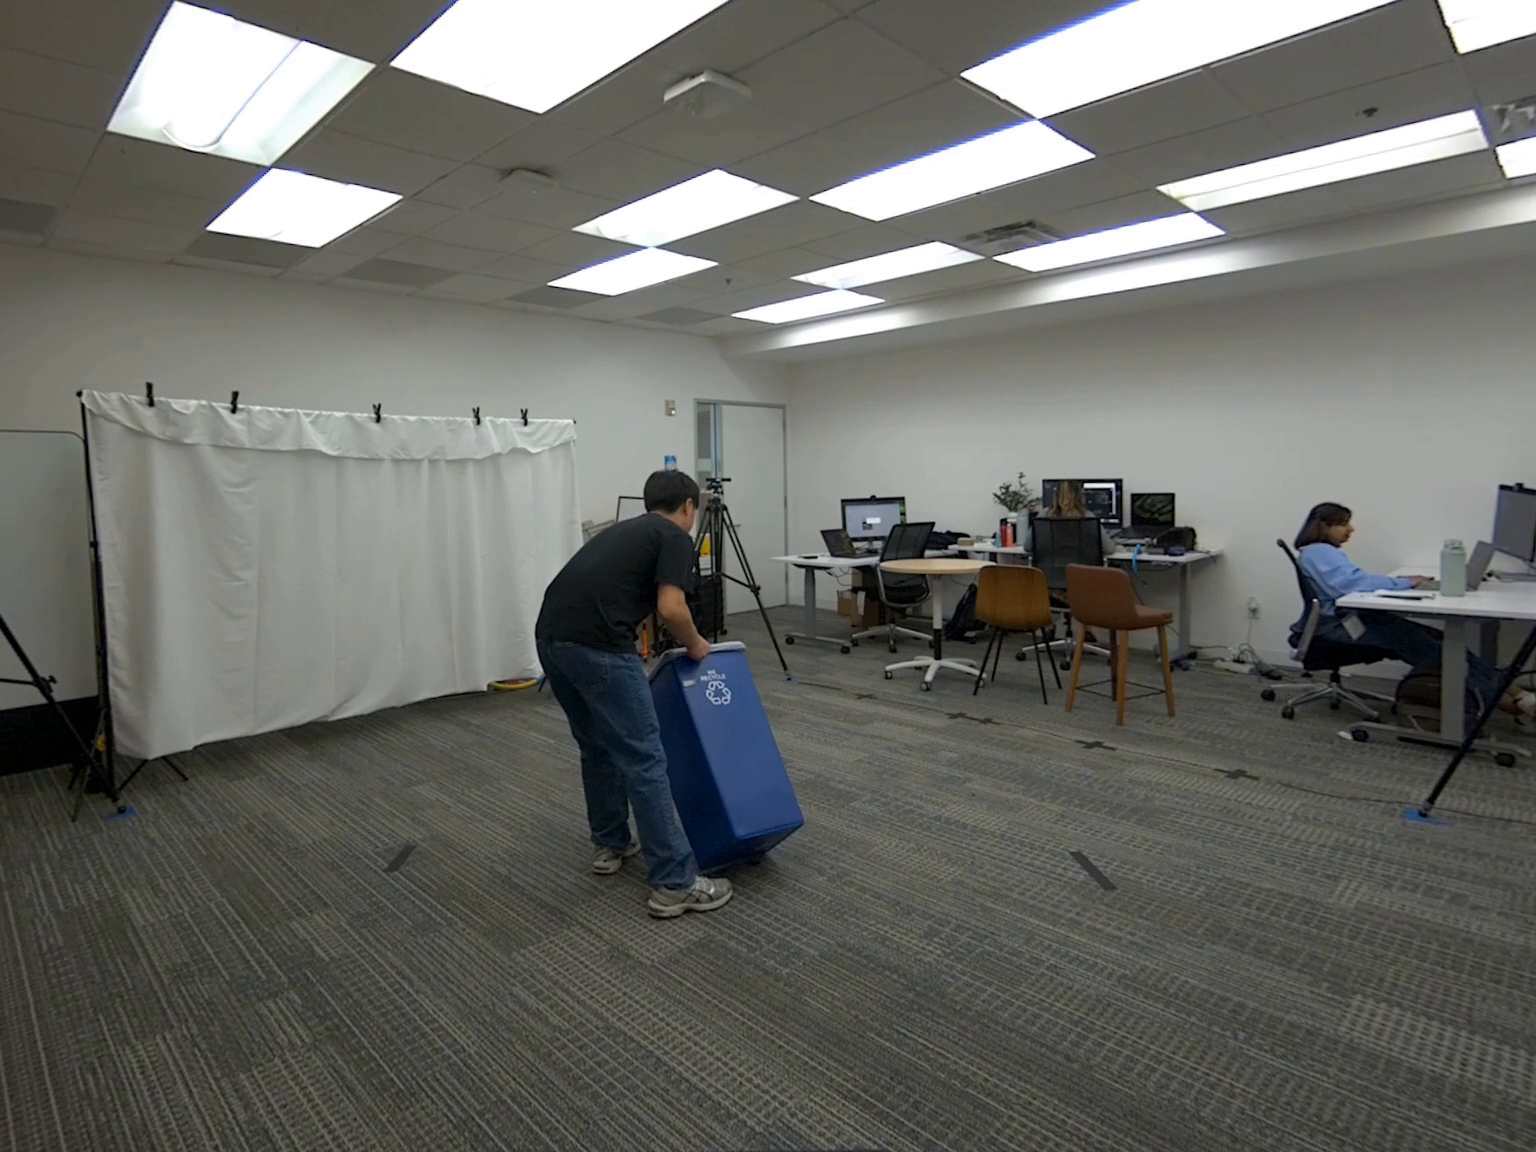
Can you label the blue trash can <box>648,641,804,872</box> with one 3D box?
[{"bbox_3d":[-0.181,0.661,3.198,0.364,0.736,0.376,-2,-35,-35],"label":"blue trash can"}]
